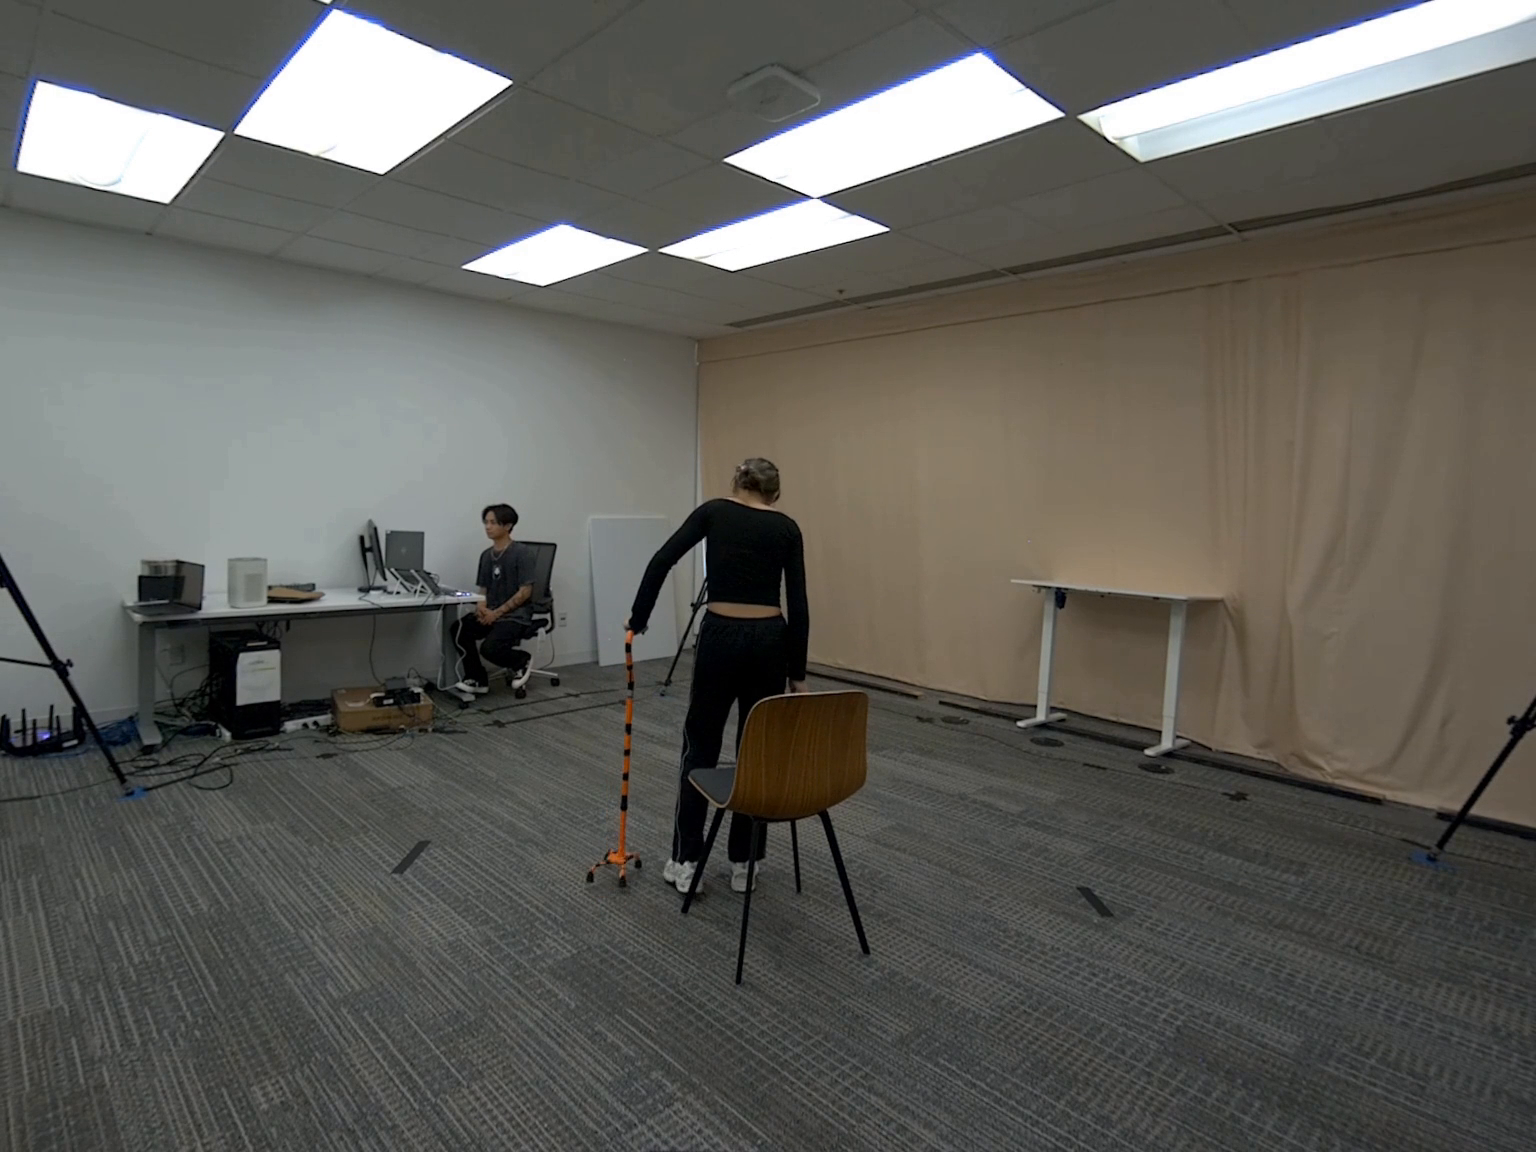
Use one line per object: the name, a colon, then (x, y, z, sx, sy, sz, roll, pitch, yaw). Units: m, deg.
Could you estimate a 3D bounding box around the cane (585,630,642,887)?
cane: (-0.532, 0.626, 3.049, 0.152, 0.907, 0.205, 2, 1, 6)
